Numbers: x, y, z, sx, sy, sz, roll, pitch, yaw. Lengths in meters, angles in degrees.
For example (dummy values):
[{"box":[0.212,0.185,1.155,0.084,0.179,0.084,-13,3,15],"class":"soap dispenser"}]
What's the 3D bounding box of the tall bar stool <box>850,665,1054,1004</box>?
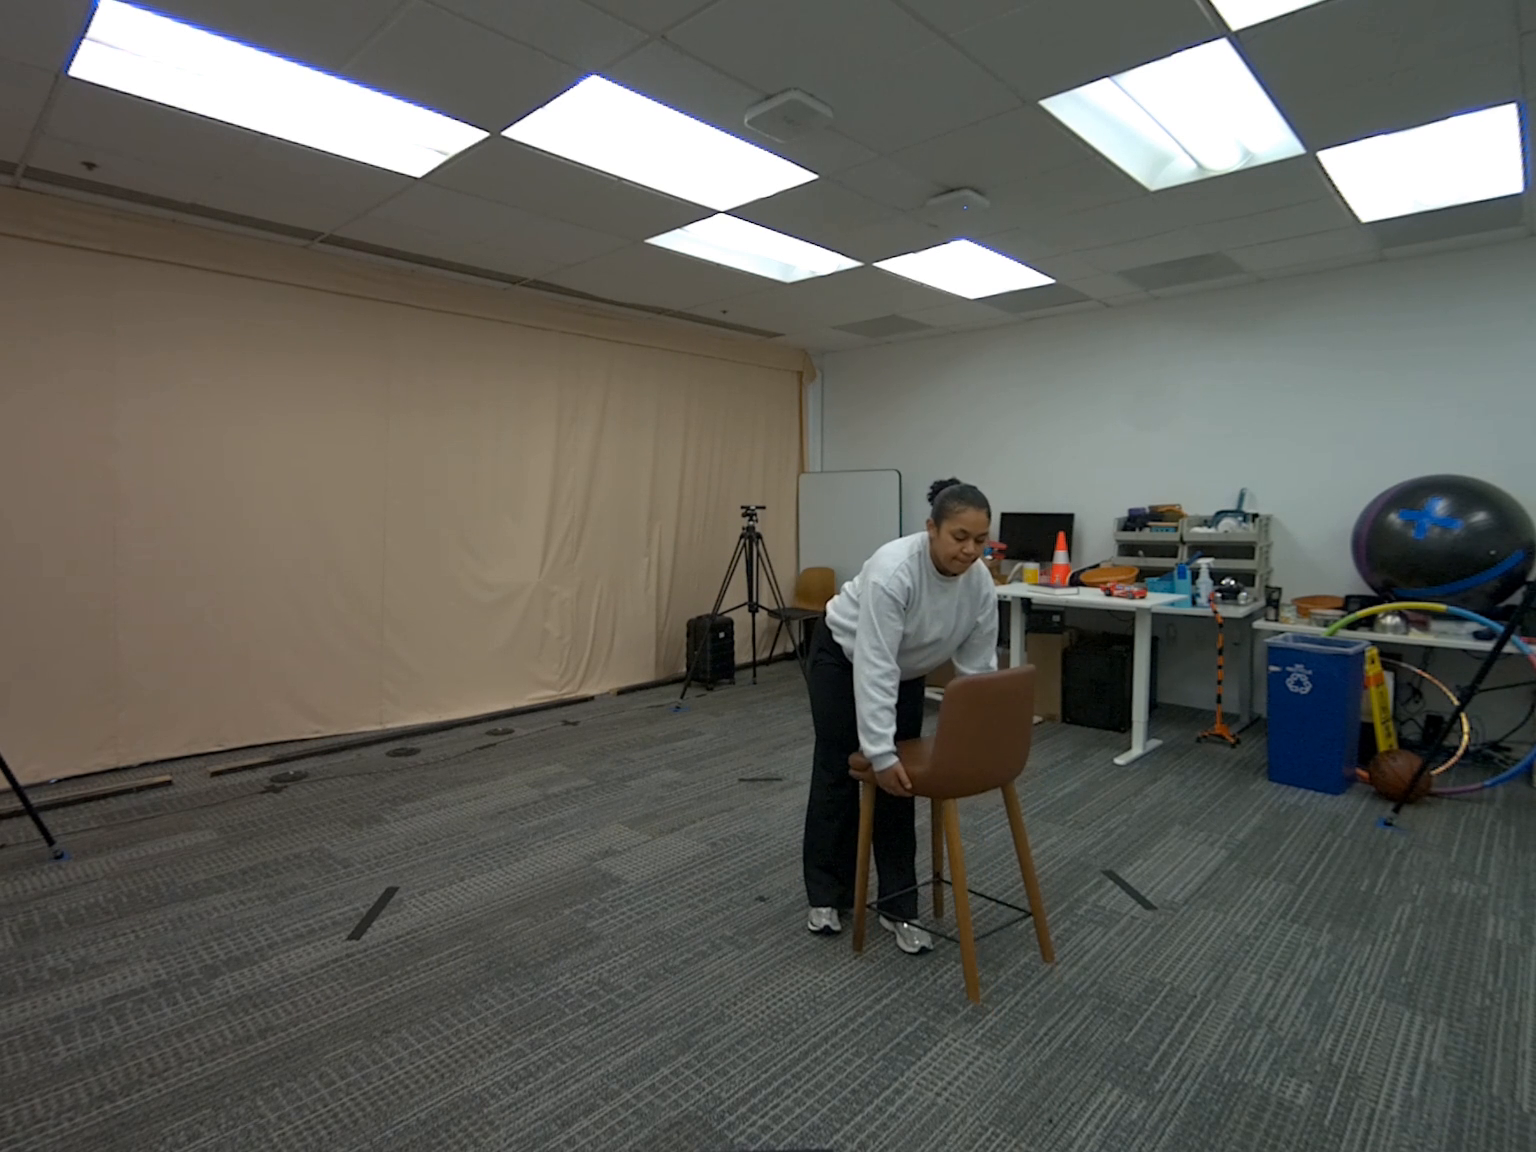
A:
[{"box":[0.545,0.711,2.529,0.443,0.889,0.482,-3,1,-37],"class":"tall bar stool"}]
